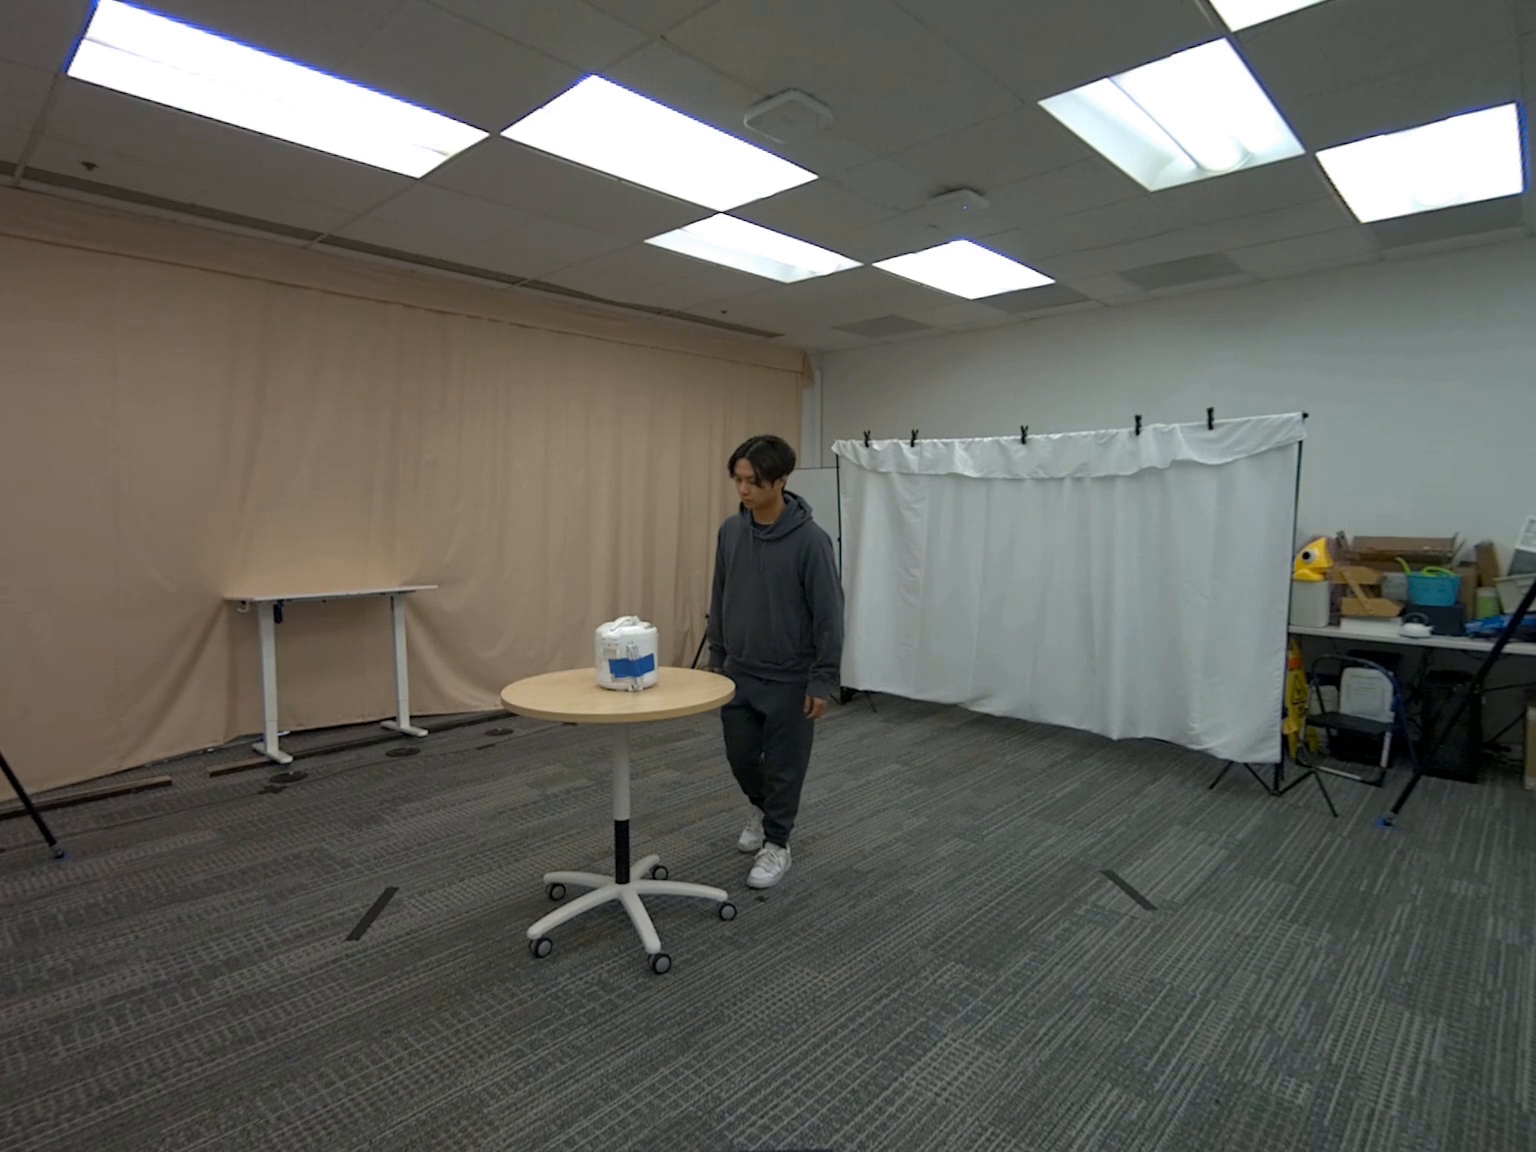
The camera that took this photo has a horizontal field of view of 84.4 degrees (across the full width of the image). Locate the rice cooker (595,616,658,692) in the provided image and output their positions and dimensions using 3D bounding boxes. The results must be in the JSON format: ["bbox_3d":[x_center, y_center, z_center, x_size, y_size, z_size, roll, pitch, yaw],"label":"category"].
[{"bbox_3d":[-0.469,0.251,2.792,0.223,0.232,0.215,2,3,23],"label":"rice cooker"}]
